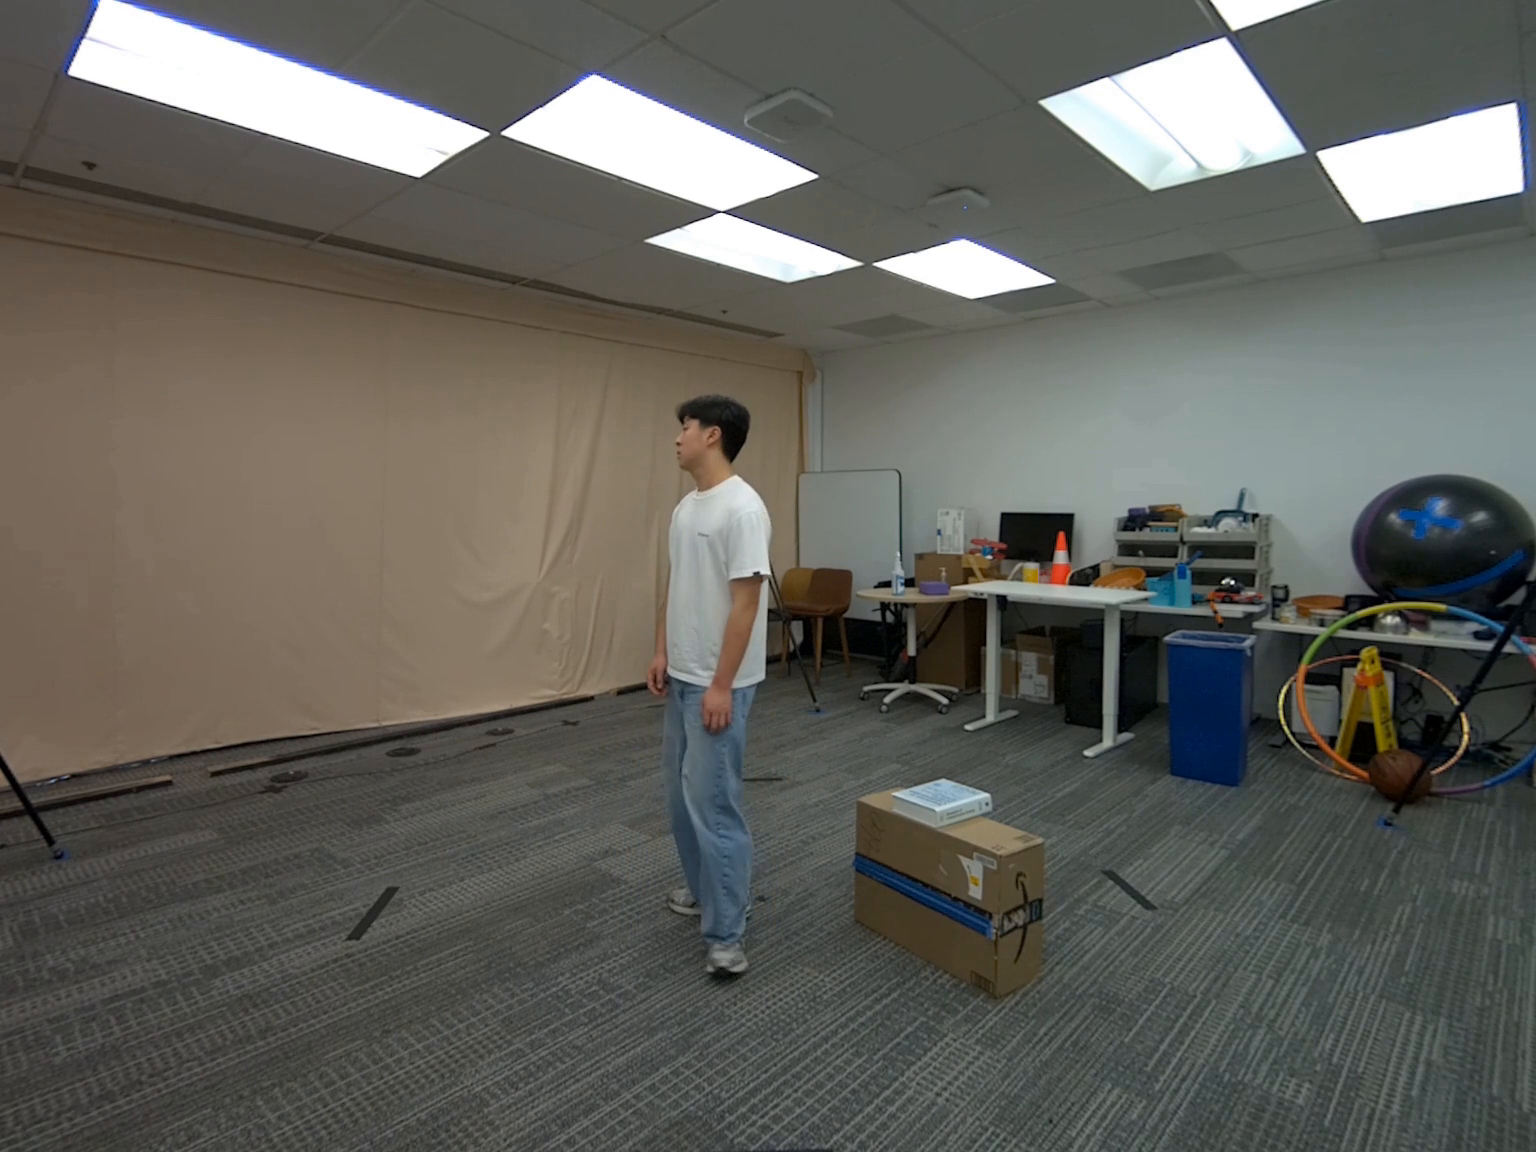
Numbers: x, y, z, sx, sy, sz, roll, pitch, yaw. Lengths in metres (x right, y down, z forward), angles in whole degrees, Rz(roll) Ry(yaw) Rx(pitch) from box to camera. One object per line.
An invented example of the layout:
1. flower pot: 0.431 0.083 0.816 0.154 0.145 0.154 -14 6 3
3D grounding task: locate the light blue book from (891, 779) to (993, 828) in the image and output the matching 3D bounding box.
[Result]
1. light blue book: 0.561 0.725 2.670 0.253 0.059 0.197 -3 5 -37
